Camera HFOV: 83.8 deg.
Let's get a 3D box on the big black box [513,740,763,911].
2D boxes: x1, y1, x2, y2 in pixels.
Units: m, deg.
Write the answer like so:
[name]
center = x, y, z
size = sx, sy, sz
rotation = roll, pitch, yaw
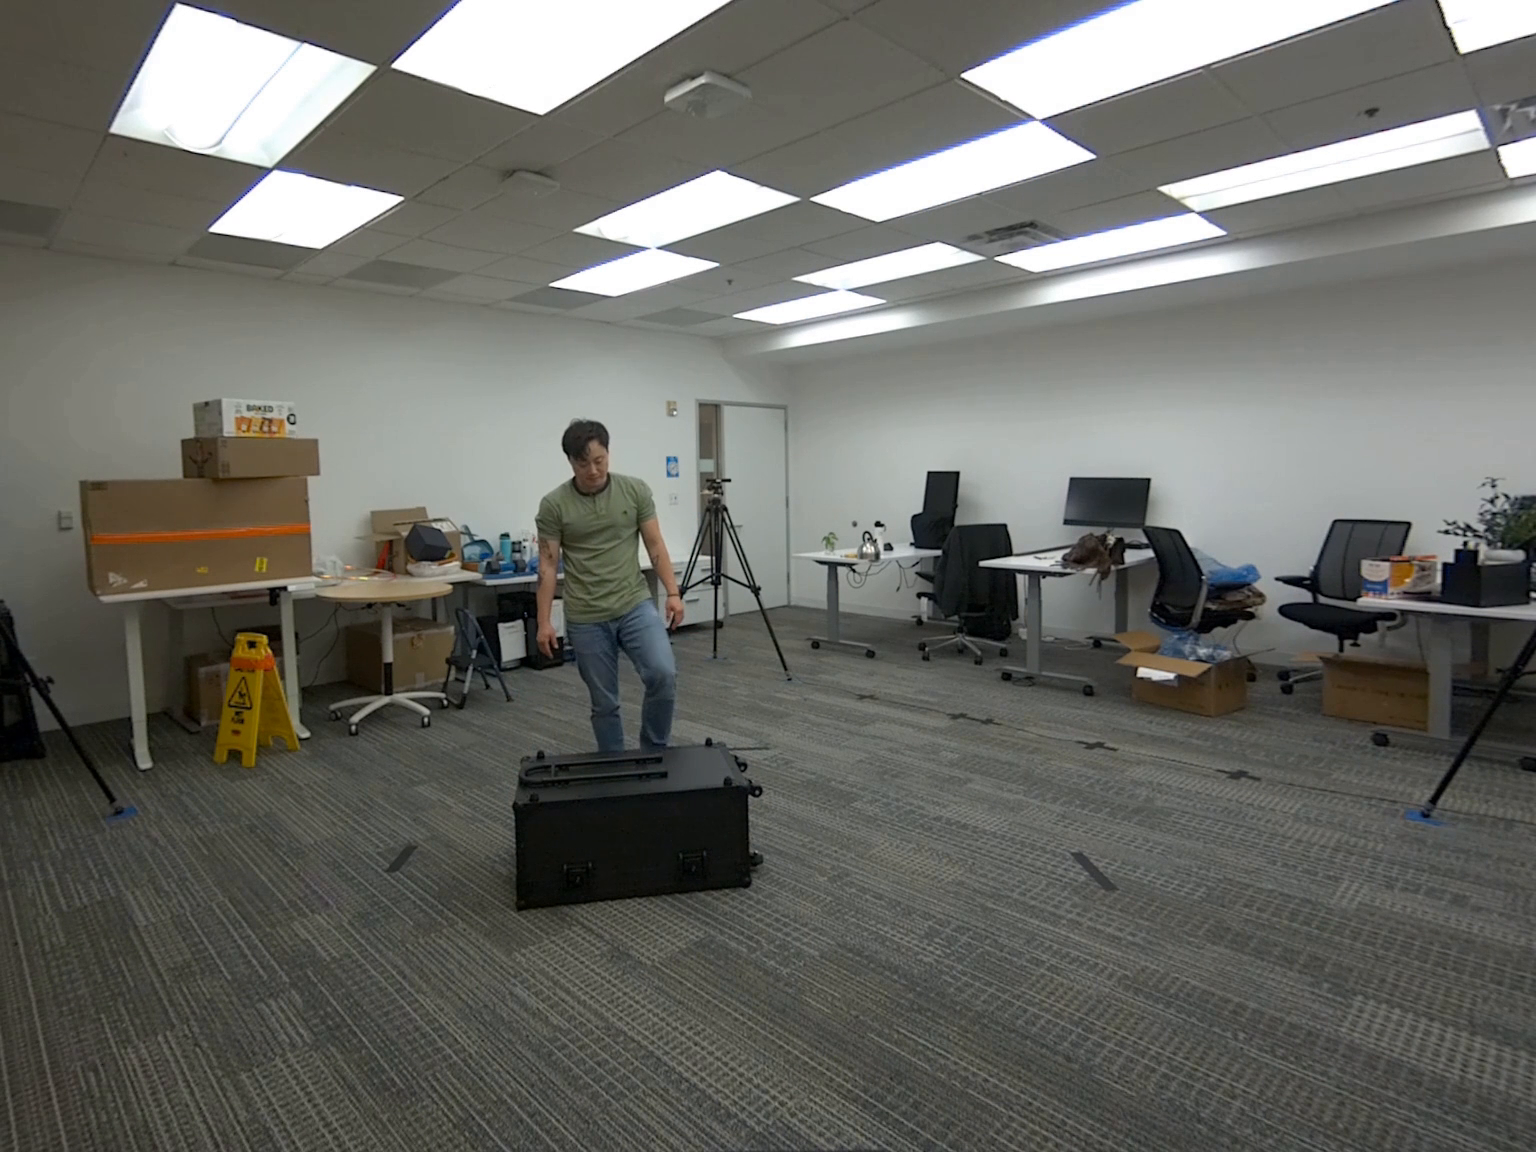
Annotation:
[big black box]
center = -0.462, 0.857, 3.091
size = 0.853, 0.395, 0.529
rotation = -1, 5, -11
